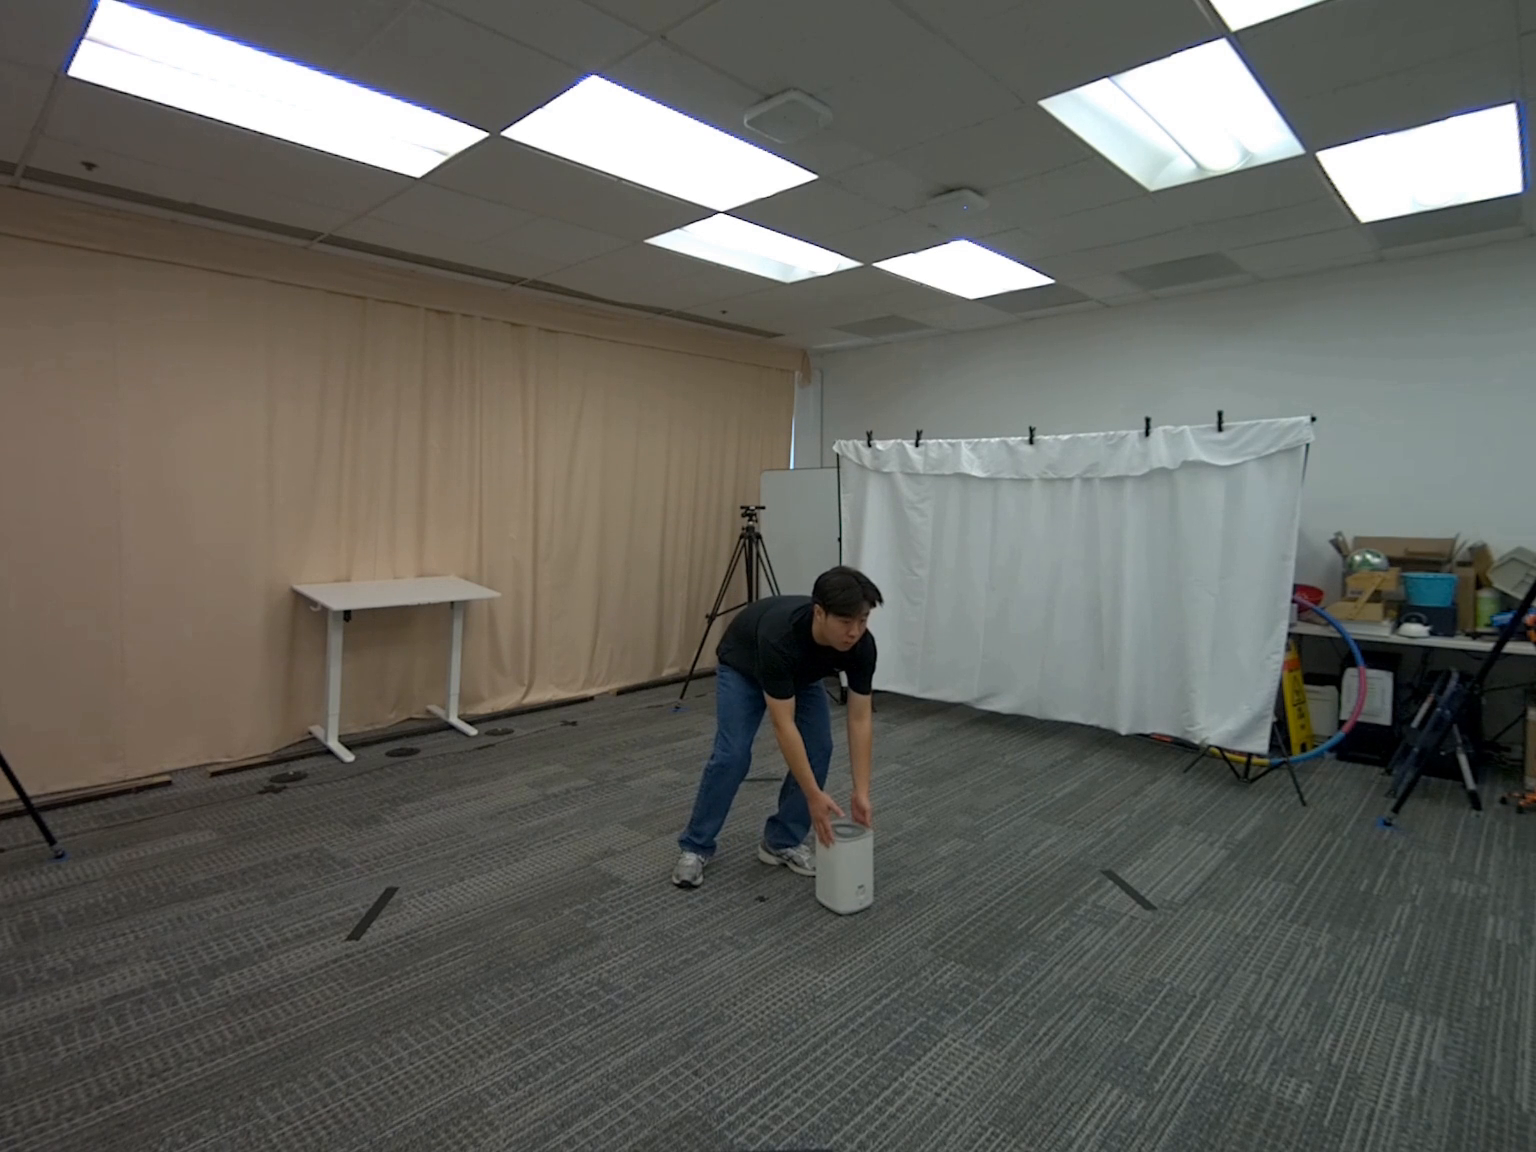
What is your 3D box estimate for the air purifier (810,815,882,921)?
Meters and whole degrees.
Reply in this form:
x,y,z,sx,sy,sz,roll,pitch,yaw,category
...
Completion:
x,y,z,sx,sy,sz,roll,pitch,yaw,category
0.267,1.005,2.935,0.166,0.265,0.177,-3,5,-39,air purifier
